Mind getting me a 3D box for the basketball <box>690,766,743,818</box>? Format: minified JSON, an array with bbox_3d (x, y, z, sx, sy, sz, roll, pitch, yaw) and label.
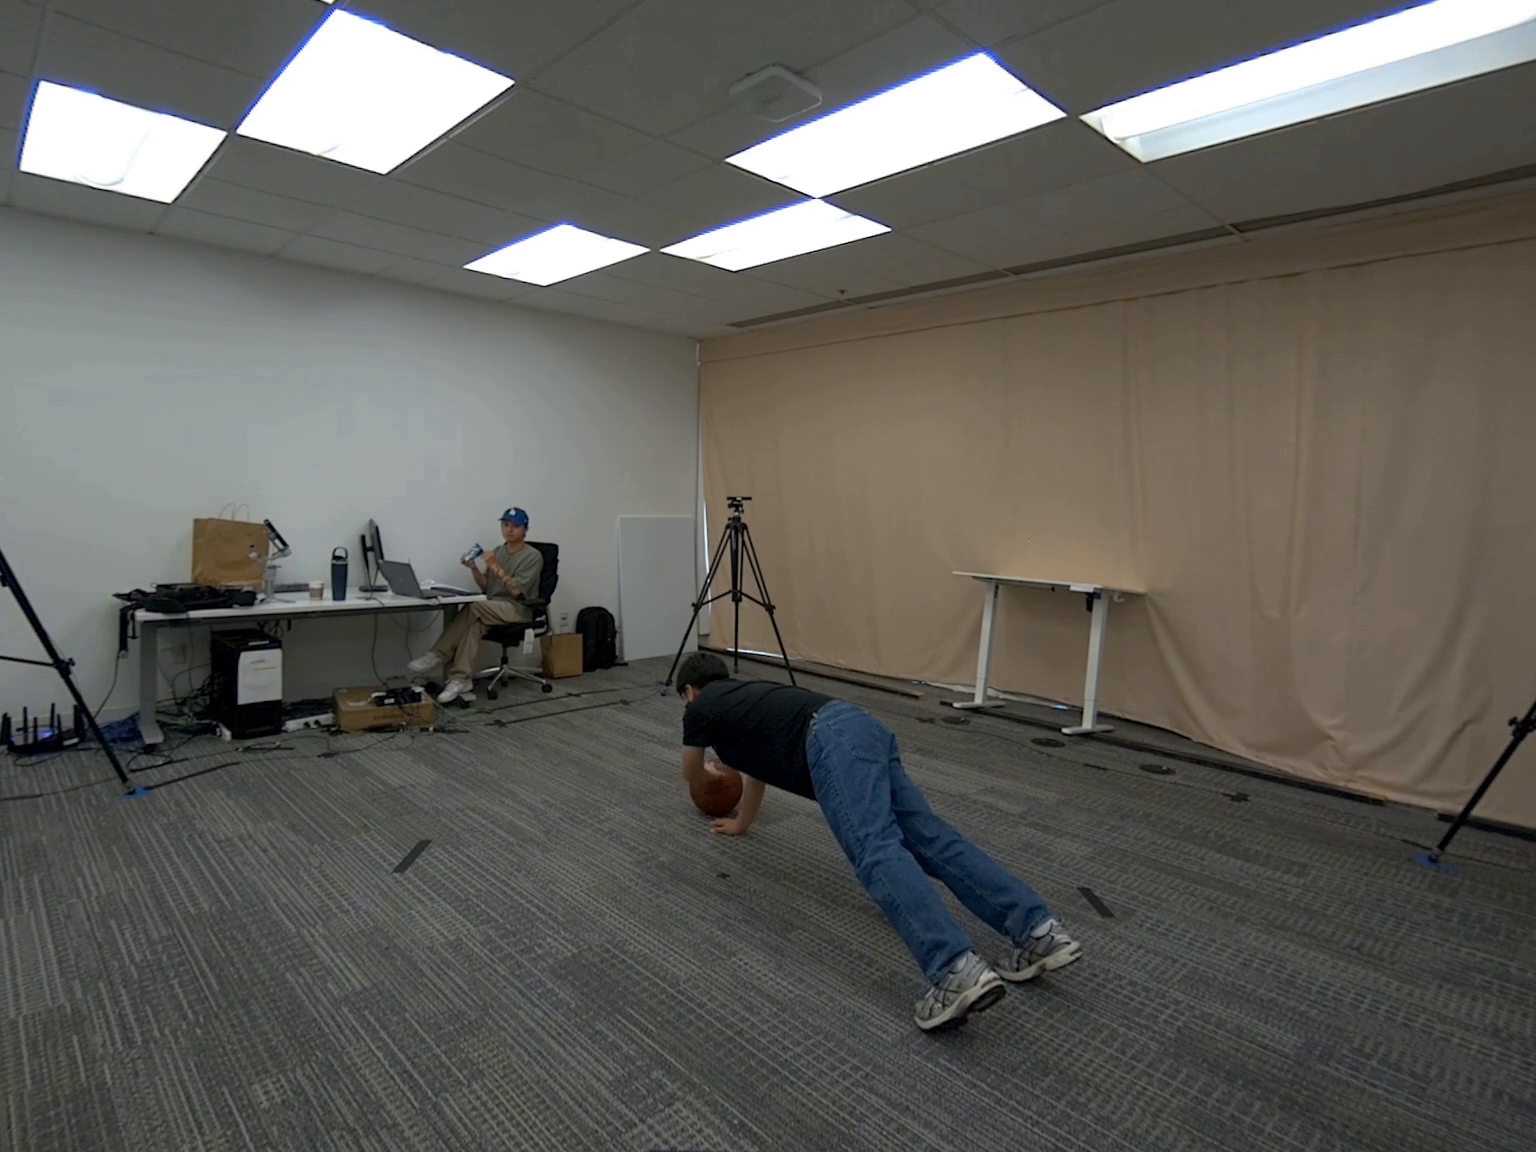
[{"bbox_3d":[-0.235,0.933,3.721,0.236,0.235,0.237,1,4,-1],"label":"basketball"}]
